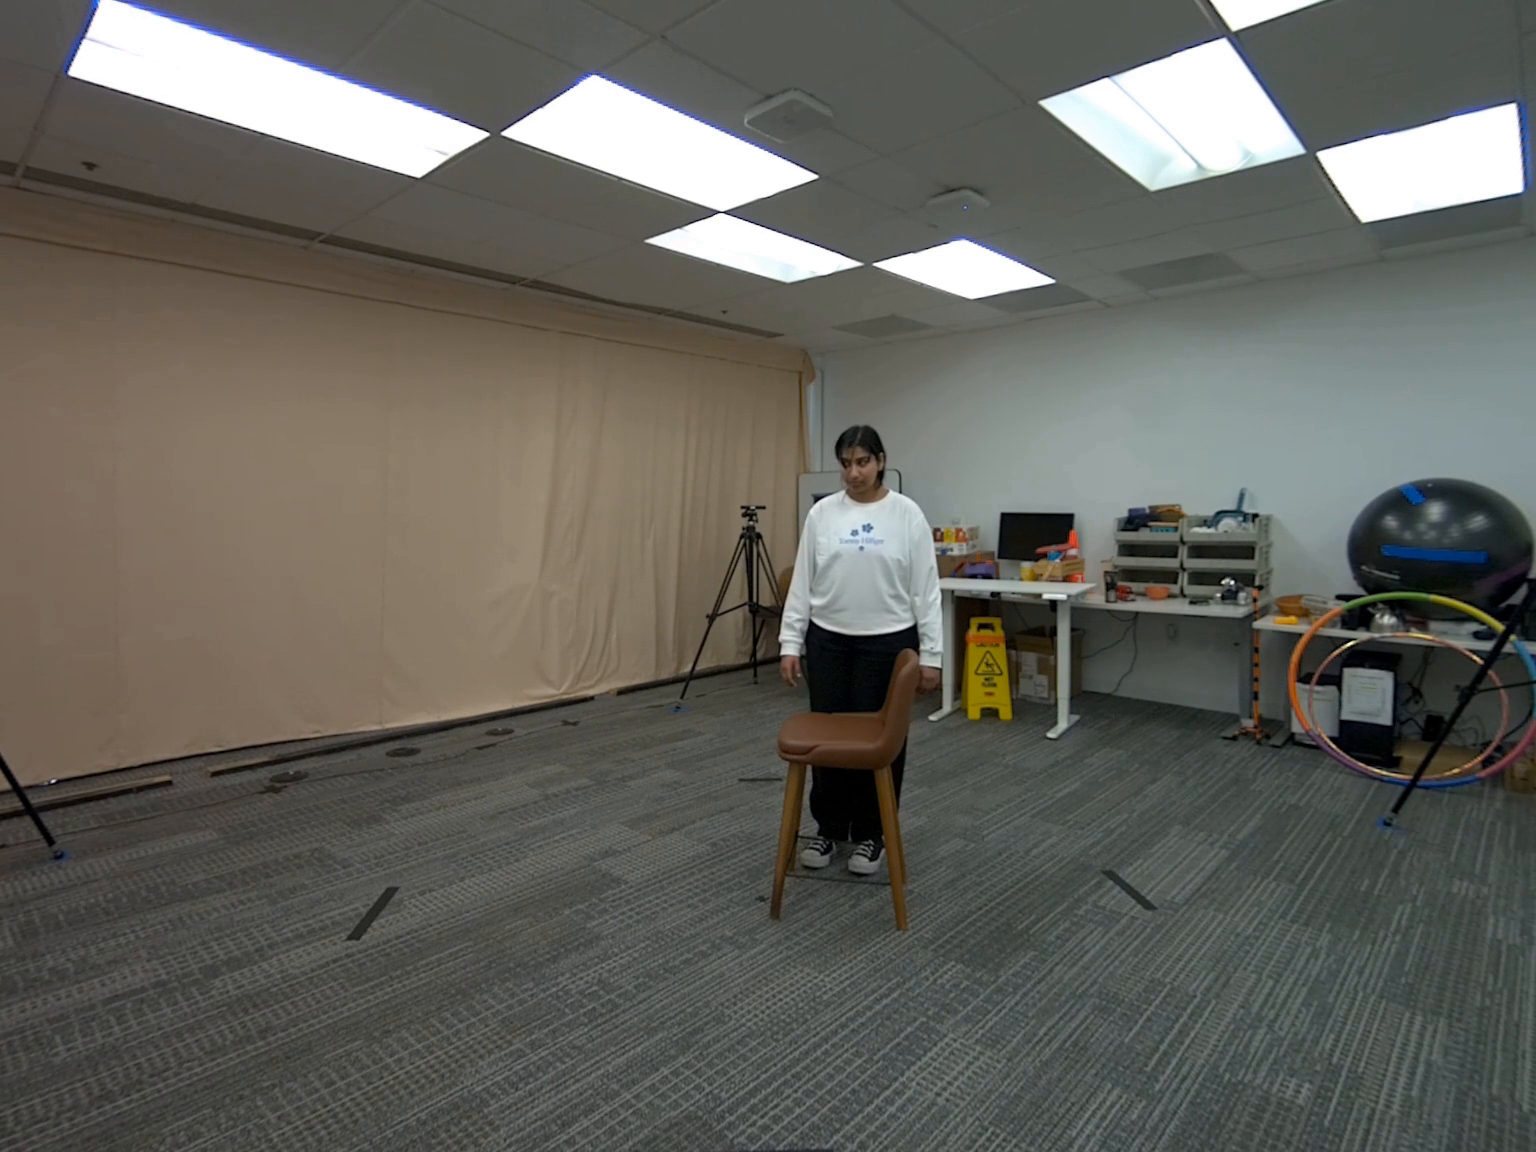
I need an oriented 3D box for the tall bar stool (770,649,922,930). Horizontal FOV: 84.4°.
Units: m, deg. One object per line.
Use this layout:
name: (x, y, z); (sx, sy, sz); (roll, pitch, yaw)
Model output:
tall bar stool: (0.273, 0.709, 2.961); (0.475, 0.888, 0.451); (3, 3, 13)
